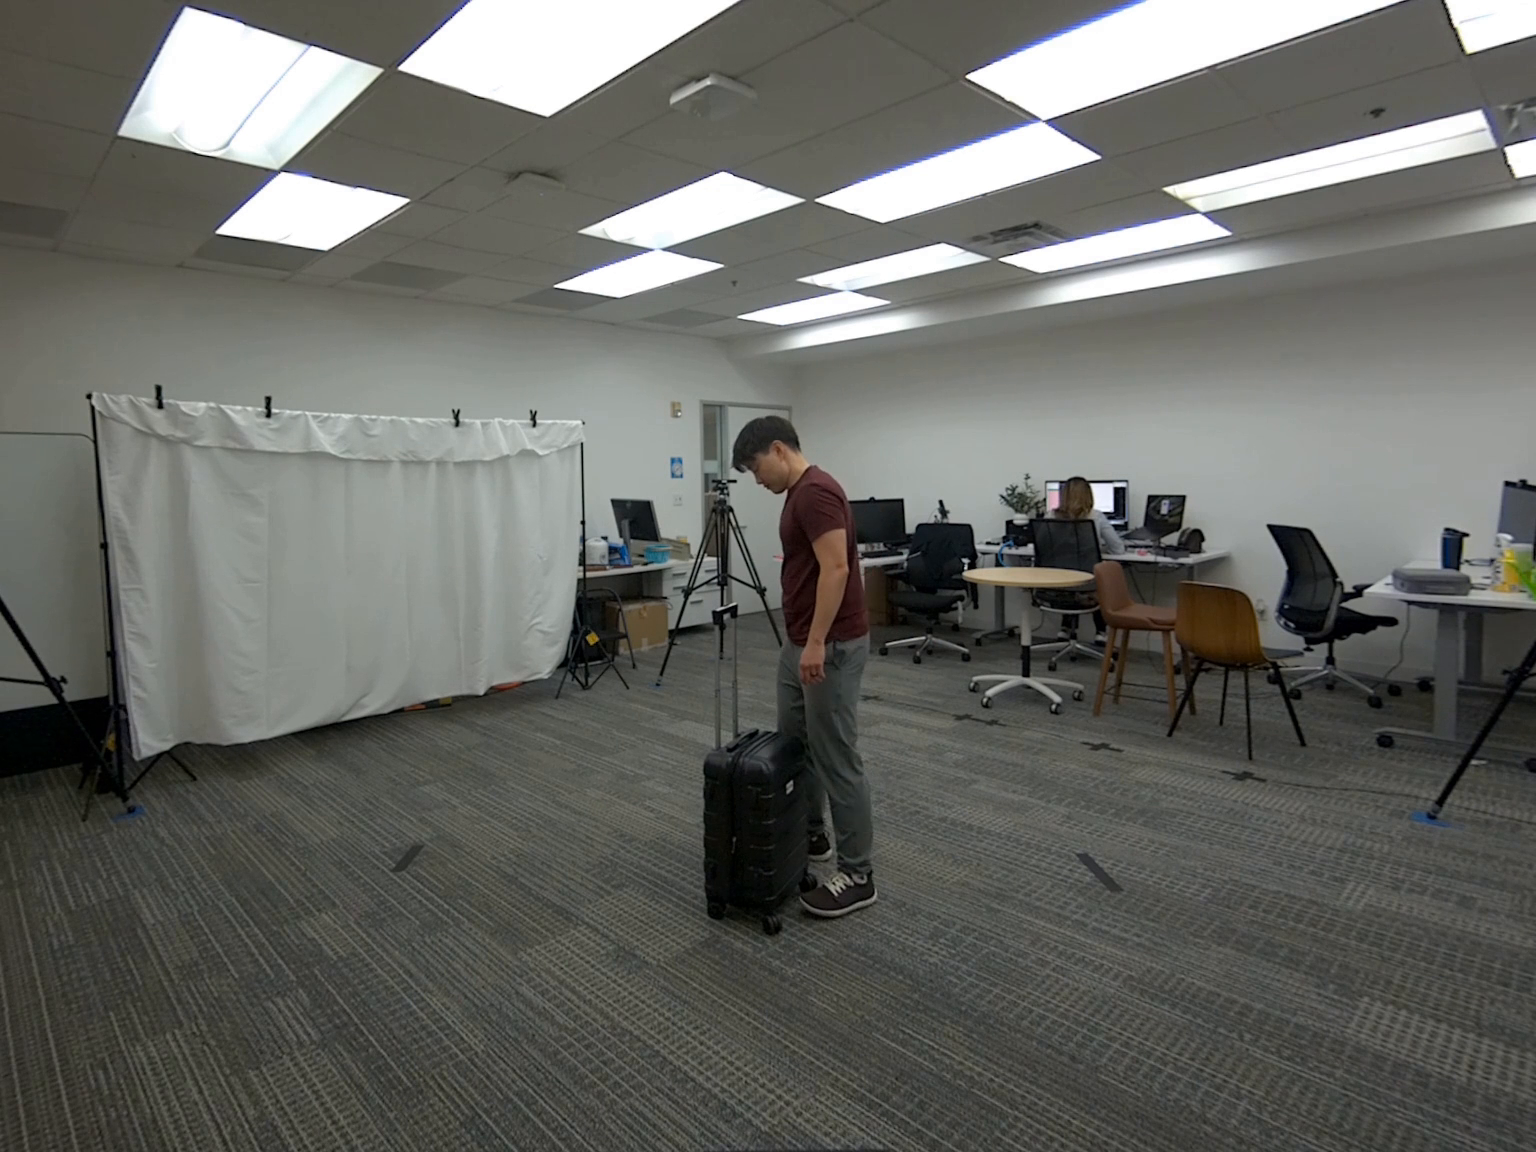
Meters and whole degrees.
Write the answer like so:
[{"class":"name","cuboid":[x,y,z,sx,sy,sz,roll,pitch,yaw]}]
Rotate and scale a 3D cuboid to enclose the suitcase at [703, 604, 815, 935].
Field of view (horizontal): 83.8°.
[{"class":"suitcase","cuboid":[-0.036,0.602,2.797,0.263,0.975,0.376,1,4,25]}]
